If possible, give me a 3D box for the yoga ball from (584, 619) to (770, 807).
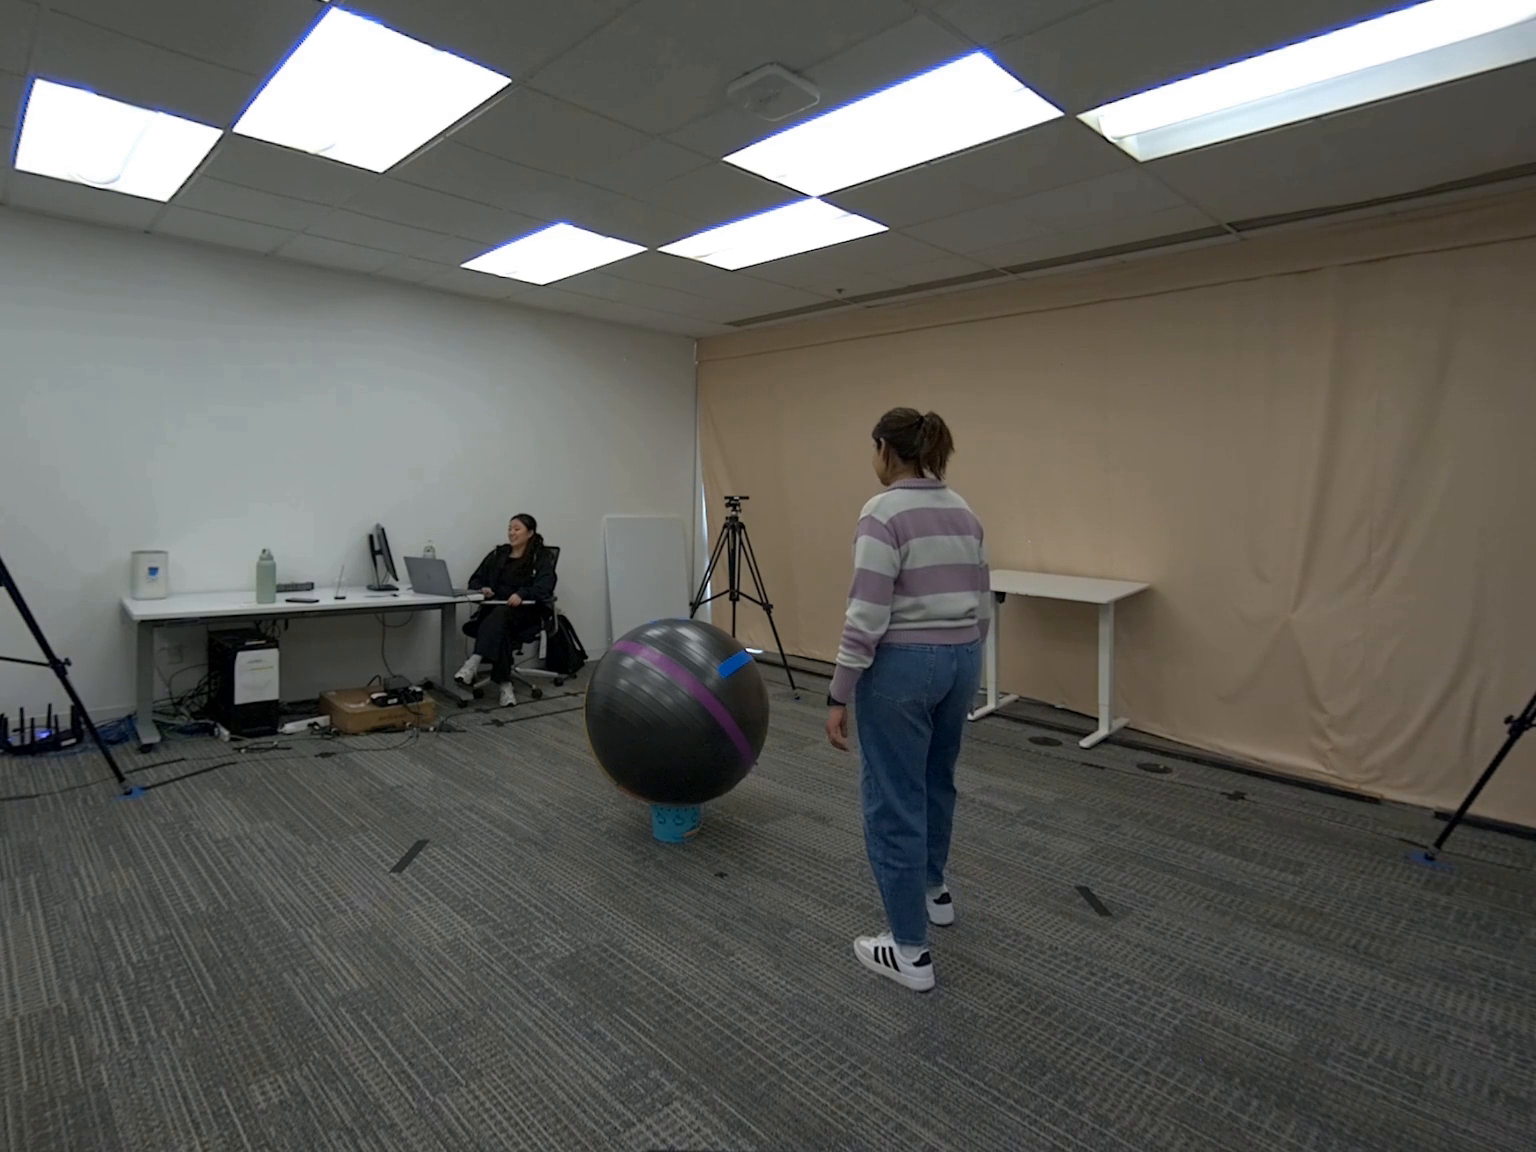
[{"bbox_3d":[-0.378,0.556,3.471,0.757,0.756,0.761,1,4,-1],"label":"yoga ball"}]
